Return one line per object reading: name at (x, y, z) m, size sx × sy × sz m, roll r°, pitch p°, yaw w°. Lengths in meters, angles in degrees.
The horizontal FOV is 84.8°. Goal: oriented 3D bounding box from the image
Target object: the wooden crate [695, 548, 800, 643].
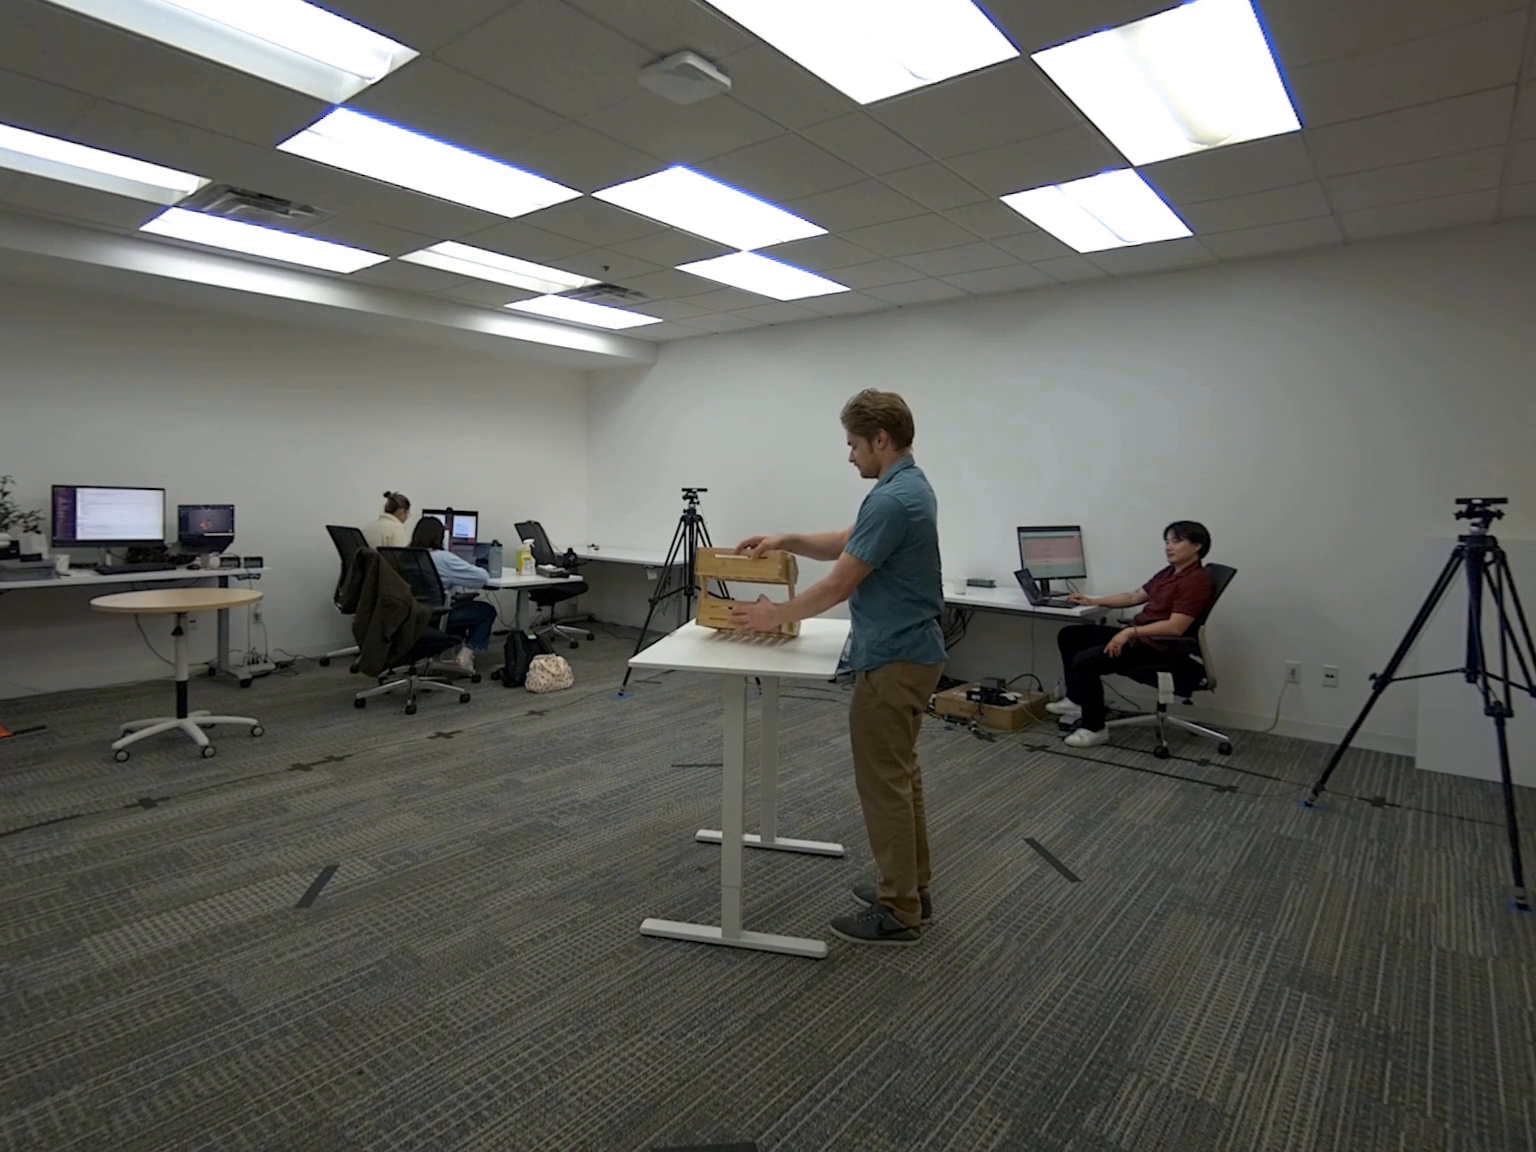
wooden crate at (-0.071, 0.049, 2.919) m, size 0.331 × 0.275 × 0.294 m, roll 2°, pitch -7°, yaw 18°
